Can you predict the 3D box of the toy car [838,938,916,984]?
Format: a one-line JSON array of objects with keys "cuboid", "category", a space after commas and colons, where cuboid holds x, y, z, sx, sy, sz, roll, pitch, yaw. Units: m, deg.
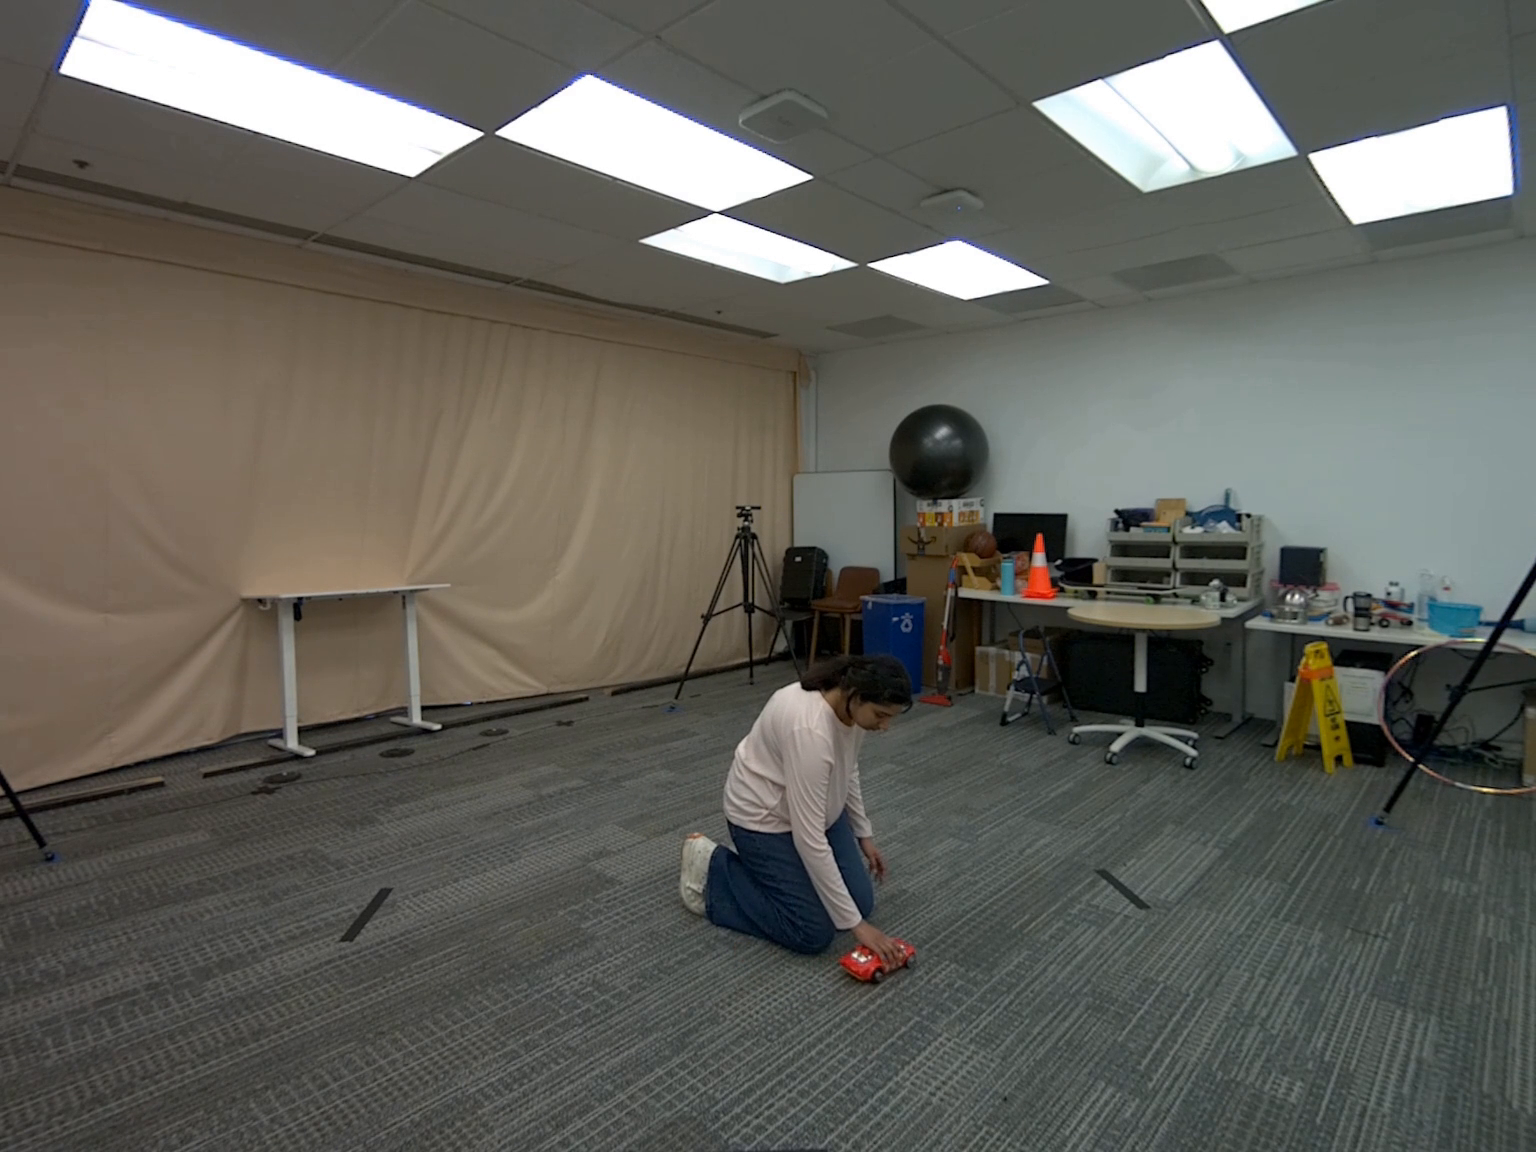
[{"cuboid": [0.320, 1.144, 2.527, 0.246, 0.083, 0.134, 10, -1, -37], "category": "toy car"}]
